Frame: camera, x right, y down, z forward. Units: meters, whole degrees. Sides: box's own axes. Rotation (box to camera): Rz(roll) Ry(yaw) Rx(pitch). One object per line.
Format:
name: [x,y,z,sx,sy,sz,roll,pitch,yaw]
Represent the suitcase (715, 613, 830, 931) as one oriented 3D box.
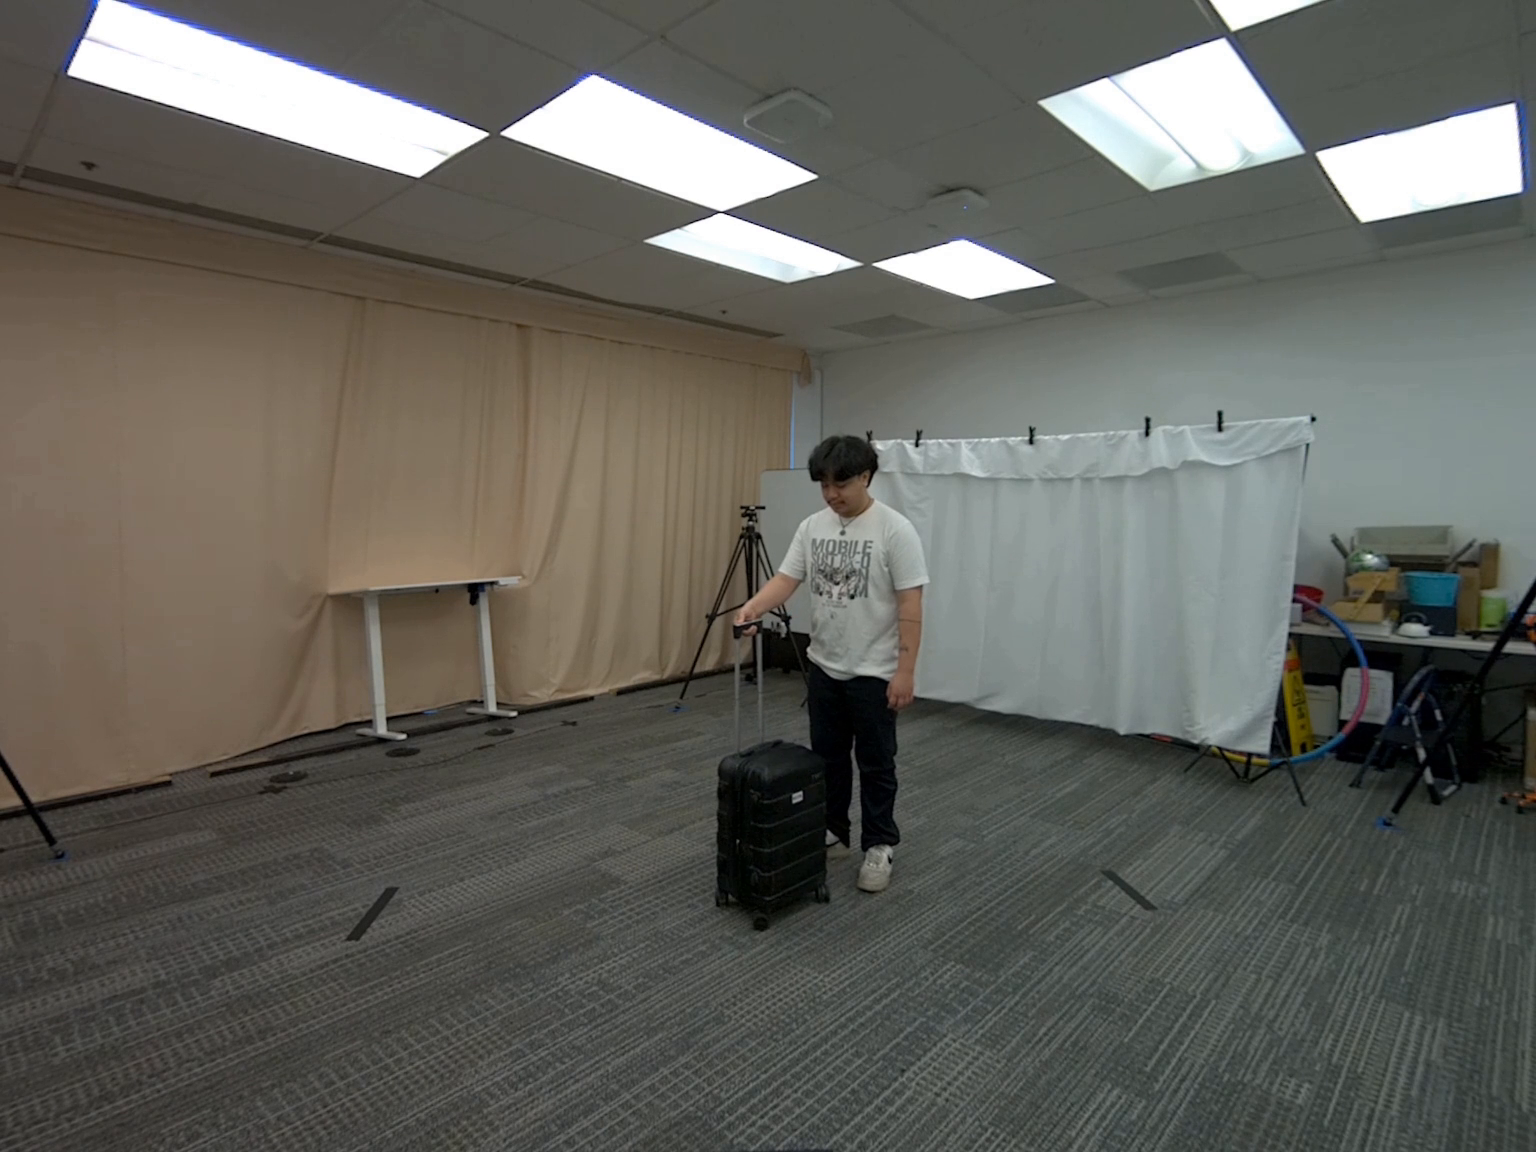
suitcase: [0.017,0.678,2.923,0.266,0.976,0.372,4,6,44]
